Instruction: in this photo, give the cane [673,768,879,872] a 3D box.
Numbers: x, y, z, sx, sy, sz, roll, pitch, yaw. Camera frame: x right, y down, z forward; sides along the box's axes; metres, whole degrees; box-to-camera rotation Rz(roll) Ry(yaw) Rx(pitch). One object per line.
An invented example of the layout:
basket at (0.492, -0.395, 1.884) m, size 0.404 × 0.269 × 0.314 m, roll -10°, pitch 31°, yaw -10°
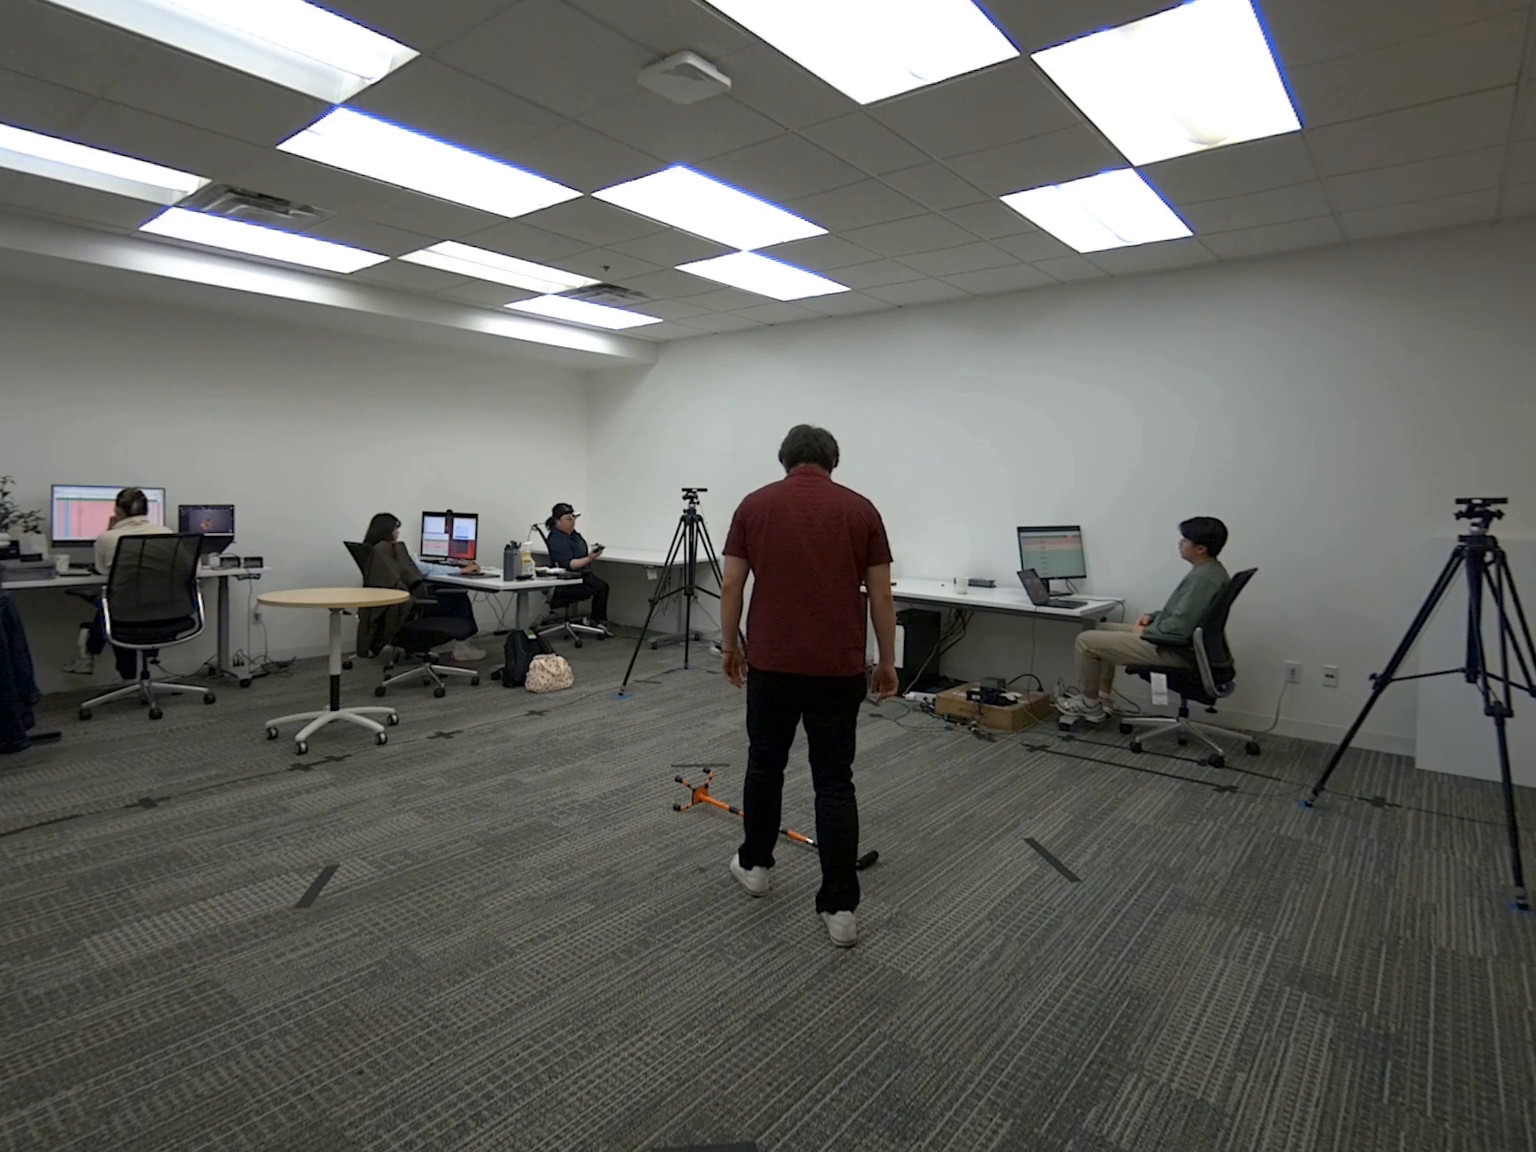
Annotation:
cane at (-0.001, 0.987, 3.443) m, size 0.941 × 0.151 × 0.200 m, roll 10°, pitch 10°, yaw 40°
